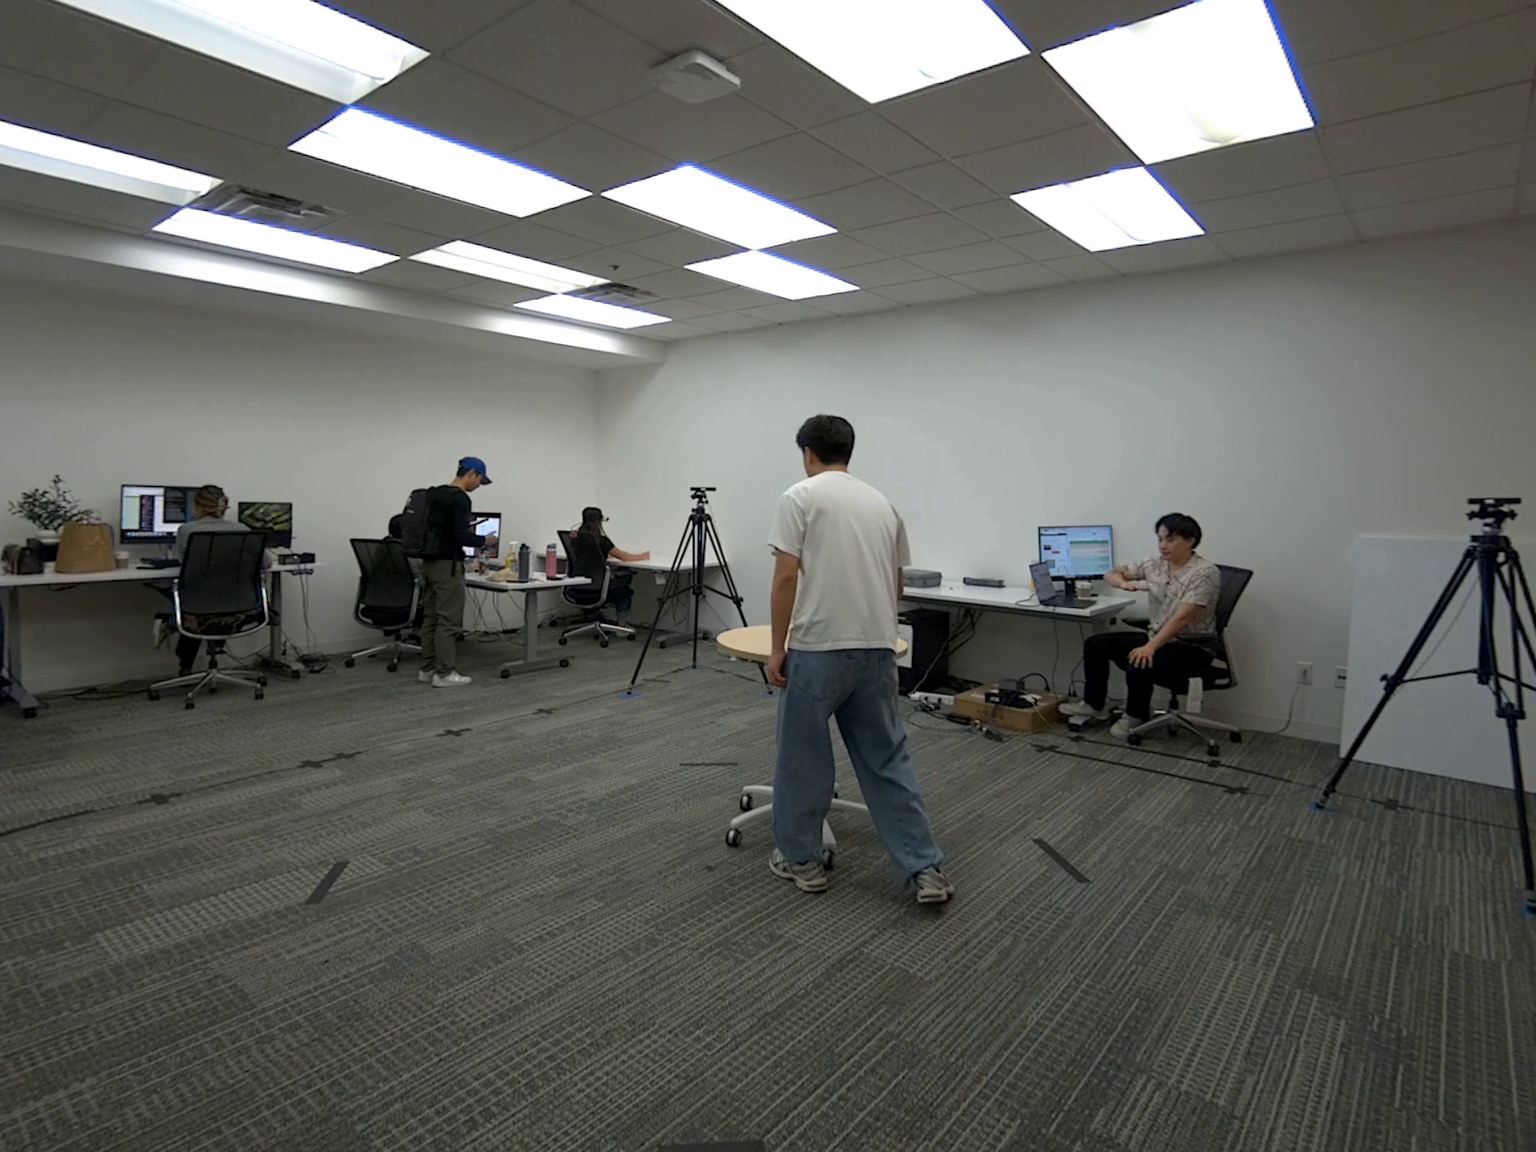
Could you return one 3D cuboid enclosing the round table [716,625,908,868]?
[{"bbox_3d":[0.147,0.646,3.465,0.763,0.791,0.768,1,4,-2],"label":"round table"}]
